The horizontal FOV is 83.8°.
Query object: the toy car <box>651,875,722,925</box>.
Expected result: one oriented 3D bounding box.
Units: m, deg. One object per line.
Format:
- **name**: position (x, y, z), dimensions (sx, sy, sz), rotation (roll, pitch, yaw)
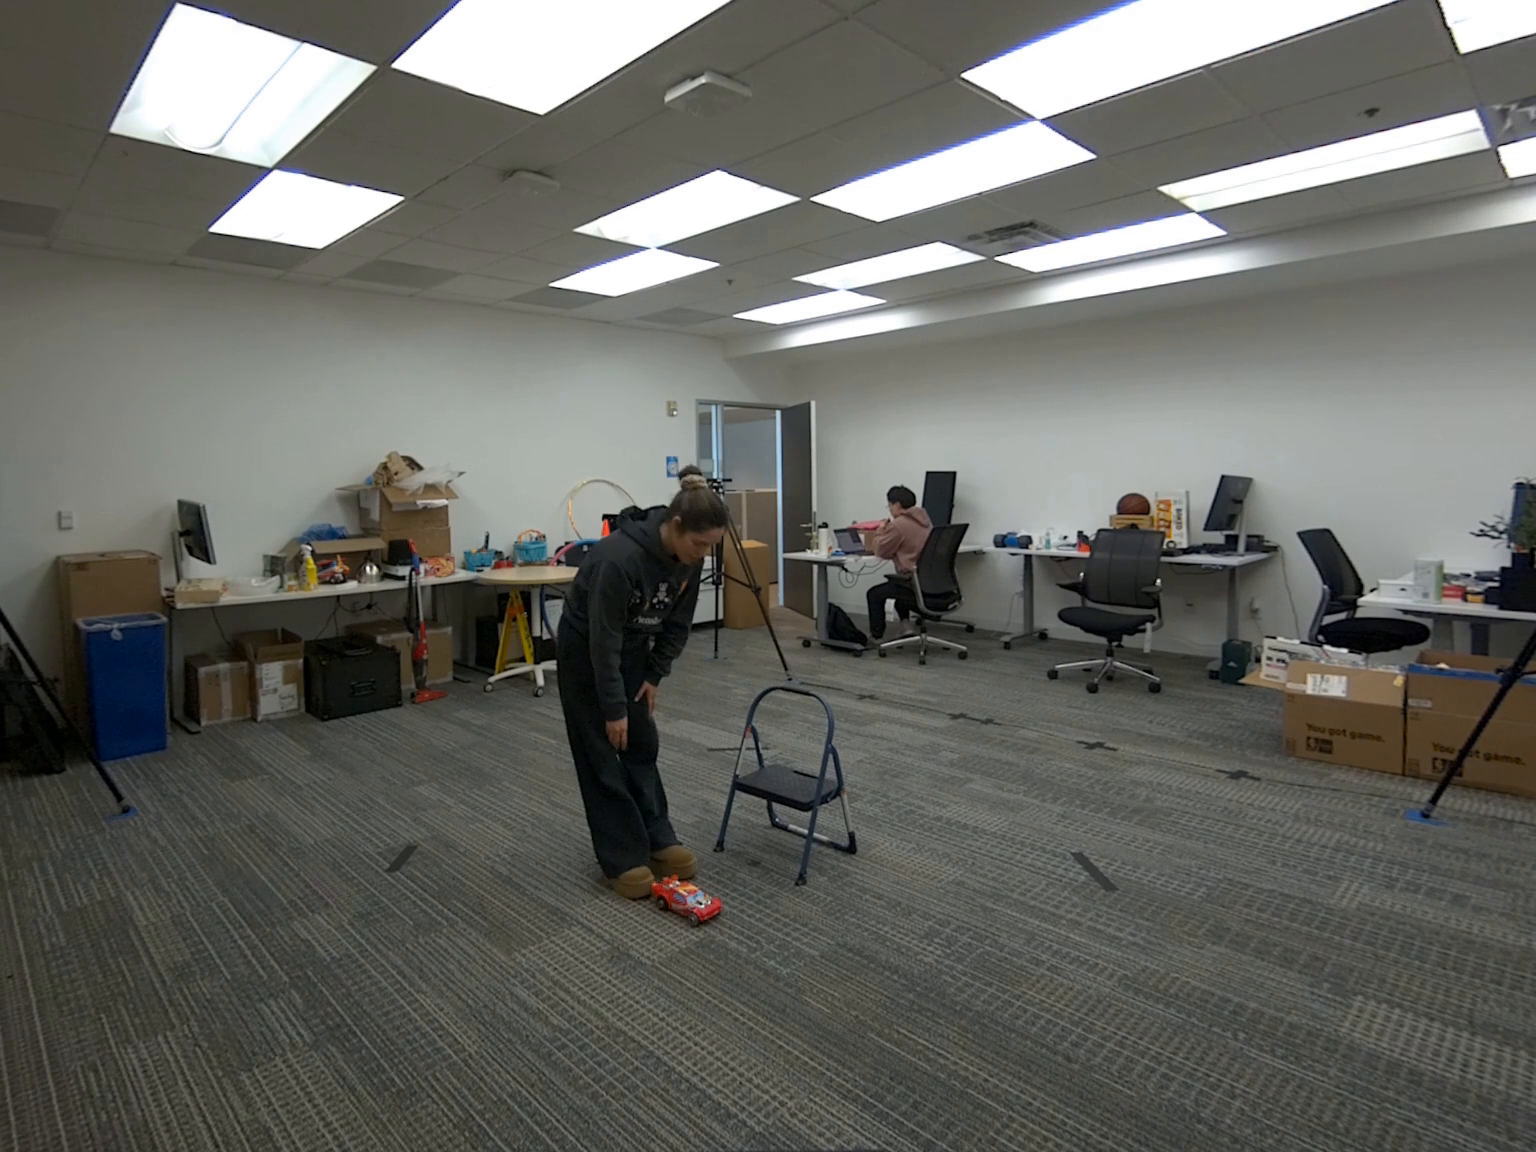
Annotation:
- **toy car**: position (-0.273, 1.054, 2.772), dimensions (0.264, 0.082, 0.127), rotation (19, 19, 40)
